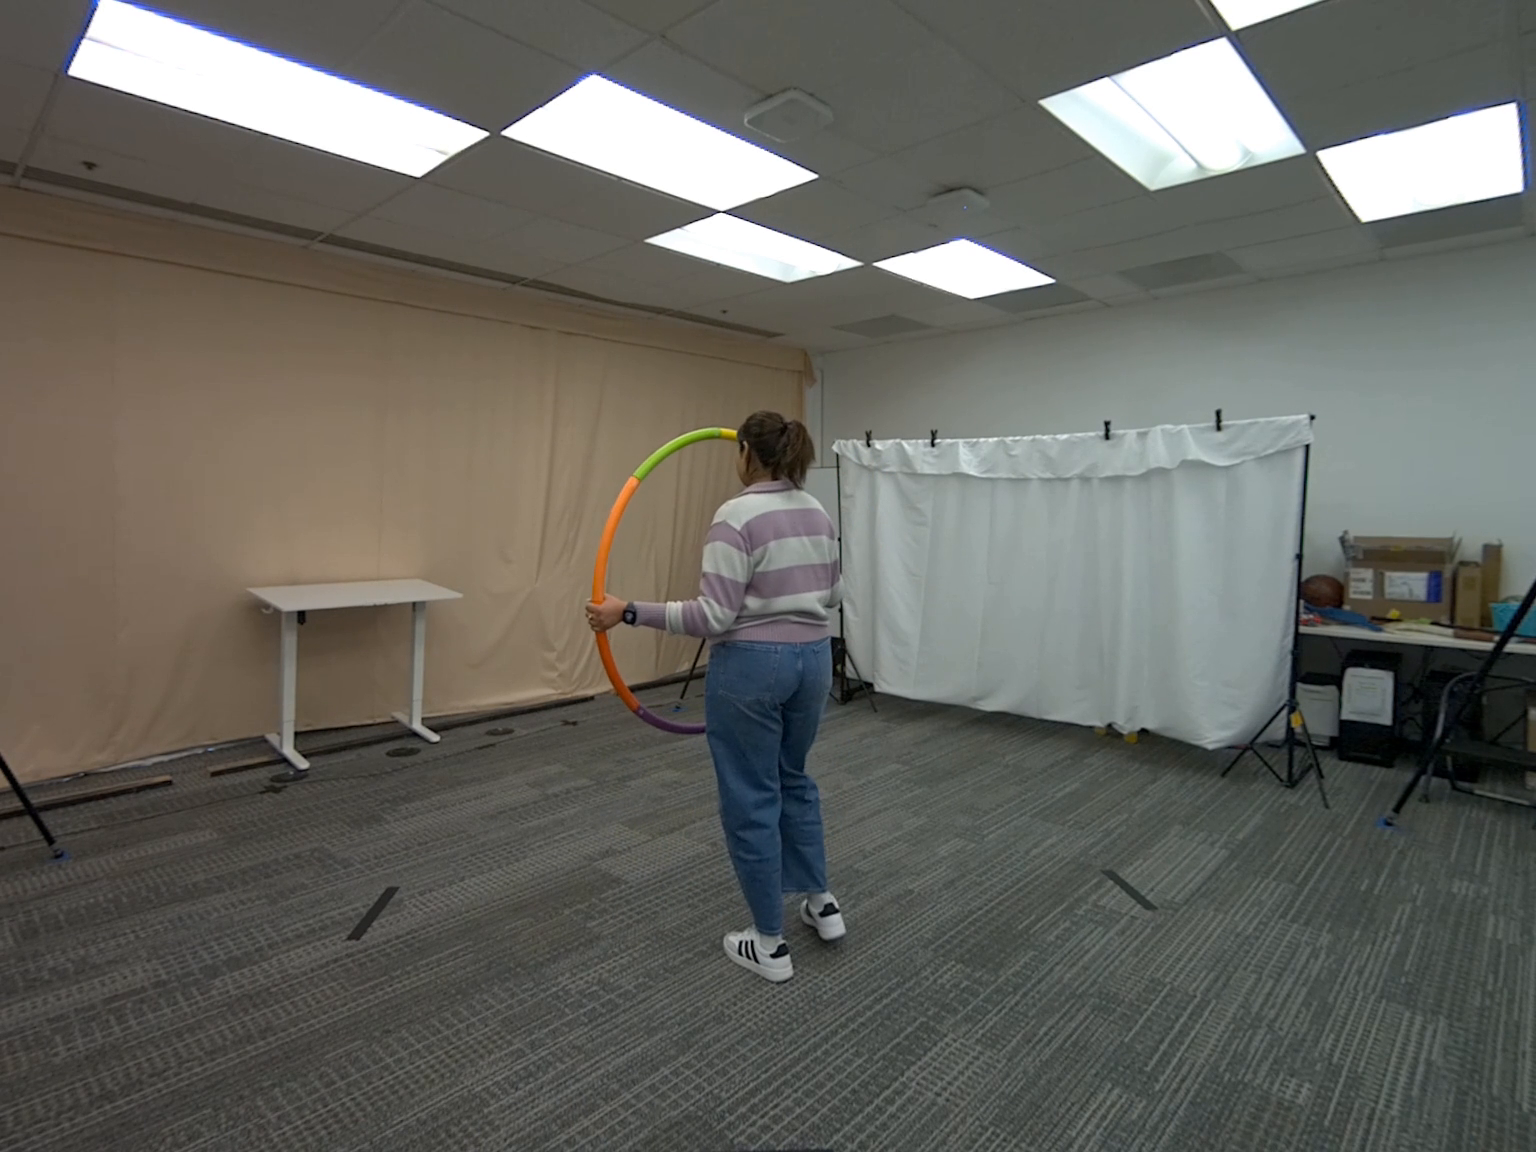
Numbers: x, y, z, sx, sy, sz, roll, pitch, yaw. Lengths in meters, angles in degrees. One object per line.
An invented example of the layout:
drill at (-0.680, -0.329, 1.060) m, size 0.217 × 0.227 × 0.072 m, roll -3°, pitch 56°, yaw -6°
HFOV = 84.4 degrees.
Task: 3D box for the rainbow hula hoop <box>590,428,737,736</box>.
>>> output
rainbow hula hoop at (-0.164, 0.022, 2.725) m, size 0.948 × 0.975 × 0.037 m, roll -4°, pitch 9°, yaw -45°
